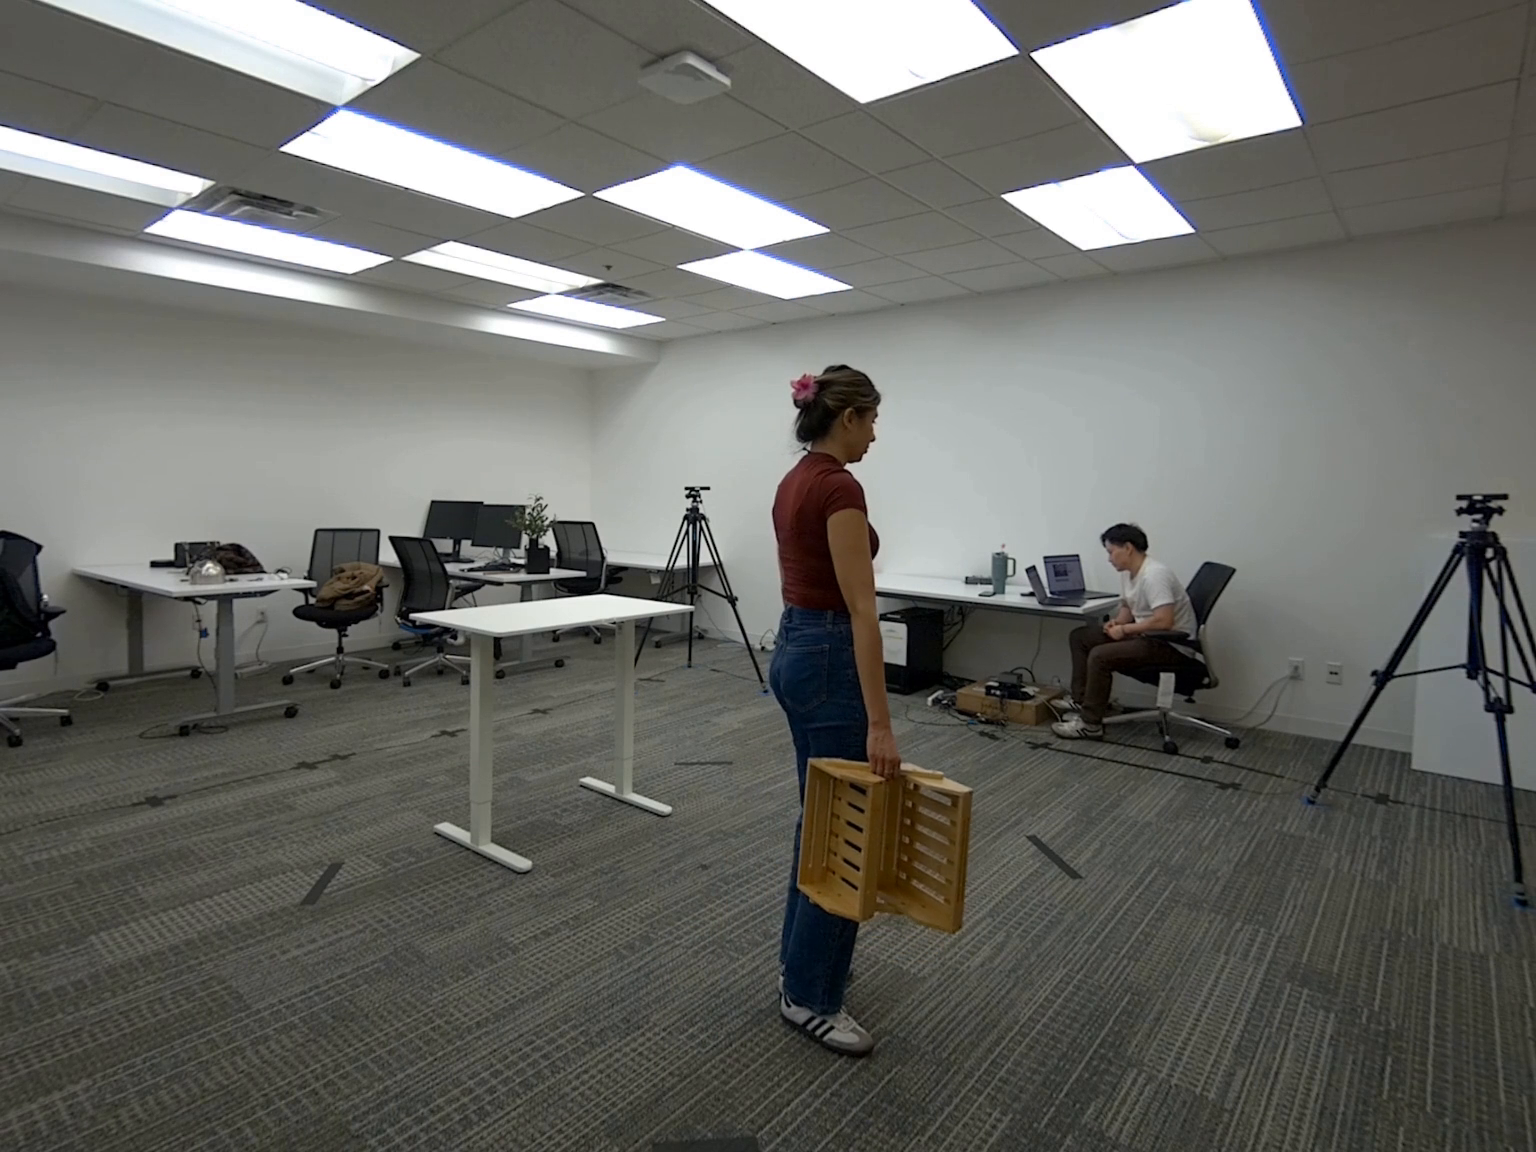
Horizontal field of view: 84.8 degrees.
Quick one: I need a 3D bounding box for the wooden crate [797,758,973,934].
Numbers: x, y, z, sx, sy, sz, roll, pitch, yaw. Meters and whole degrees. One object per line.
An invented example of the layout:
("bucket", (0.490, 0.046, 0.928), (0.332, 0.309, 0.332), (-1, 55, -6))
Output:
("wooden crate", (0.256, 0.602, 1.930), (0.266, 0.325, 0.309), (7, -2, -26))
